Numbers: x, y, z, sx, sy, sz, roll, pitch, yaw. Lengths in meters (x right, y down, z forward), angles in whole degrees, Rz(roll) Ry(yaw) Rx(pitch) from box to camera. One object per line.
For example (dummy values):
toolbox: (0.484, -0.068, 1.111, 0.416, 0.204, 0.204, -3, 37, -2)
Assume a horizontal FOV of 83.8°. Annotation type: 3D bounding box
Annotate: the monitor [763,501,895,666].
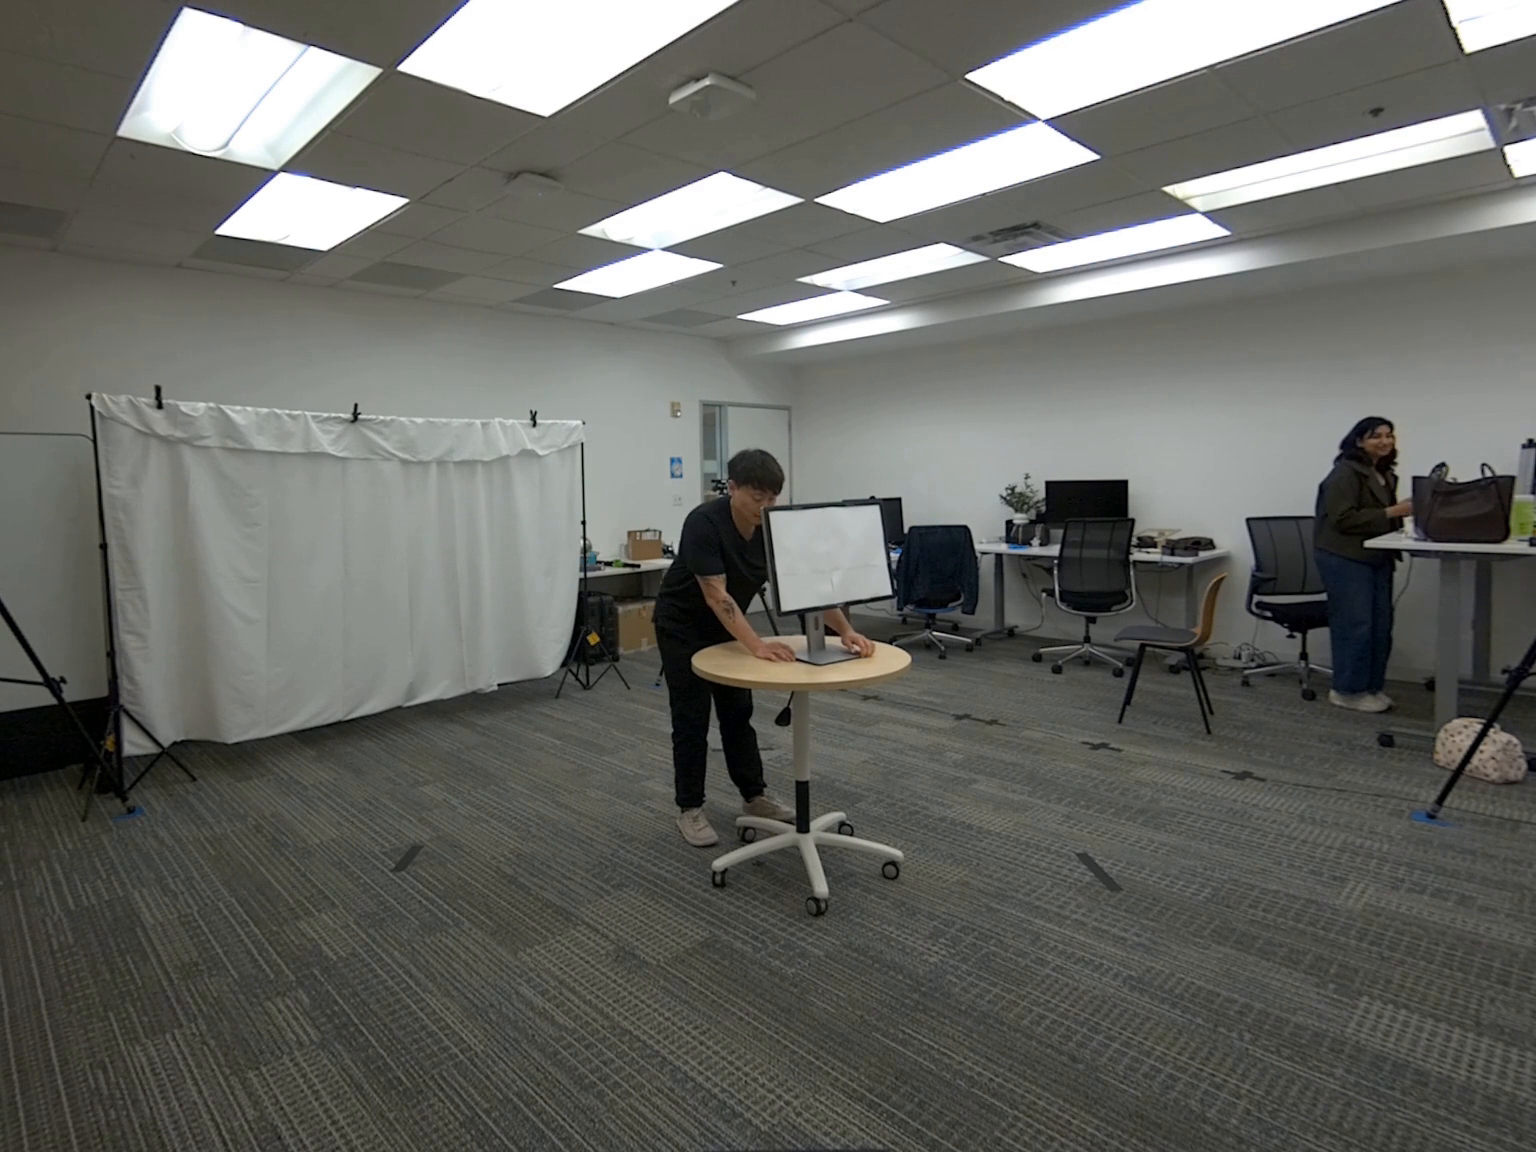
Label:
monitor: (0.196, 0.014, 2.979, 0.525, 0.520, 0.193, -7, 8, -41)
